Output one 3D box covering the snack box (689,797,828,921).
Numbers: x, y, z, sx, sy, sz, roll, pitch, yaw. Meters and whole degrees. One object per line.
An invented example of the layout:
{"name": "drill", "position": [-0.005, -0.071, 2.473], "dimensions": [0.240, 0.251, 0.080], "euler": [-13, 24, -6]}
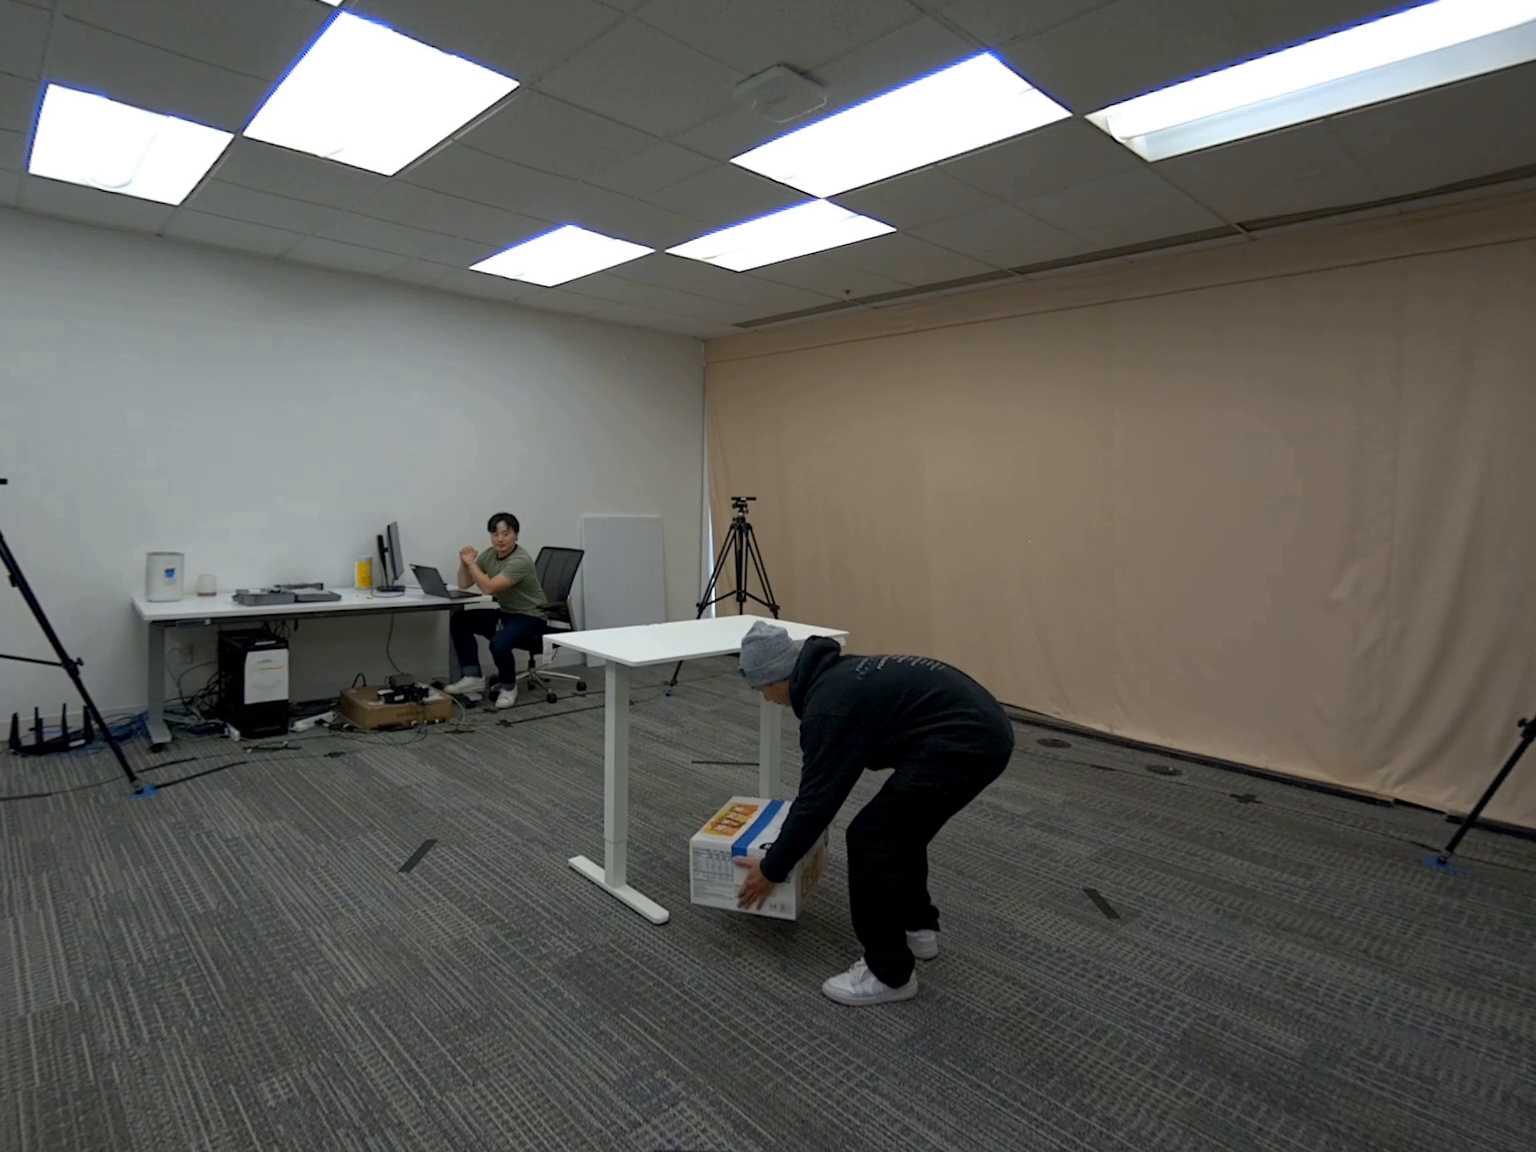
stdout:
{"name": "snack box", "position": [-0.021, 0.891, 2.712], "dimensions": [0.345, 0.205, 0.400], "euler": [0, 5, 19]}
